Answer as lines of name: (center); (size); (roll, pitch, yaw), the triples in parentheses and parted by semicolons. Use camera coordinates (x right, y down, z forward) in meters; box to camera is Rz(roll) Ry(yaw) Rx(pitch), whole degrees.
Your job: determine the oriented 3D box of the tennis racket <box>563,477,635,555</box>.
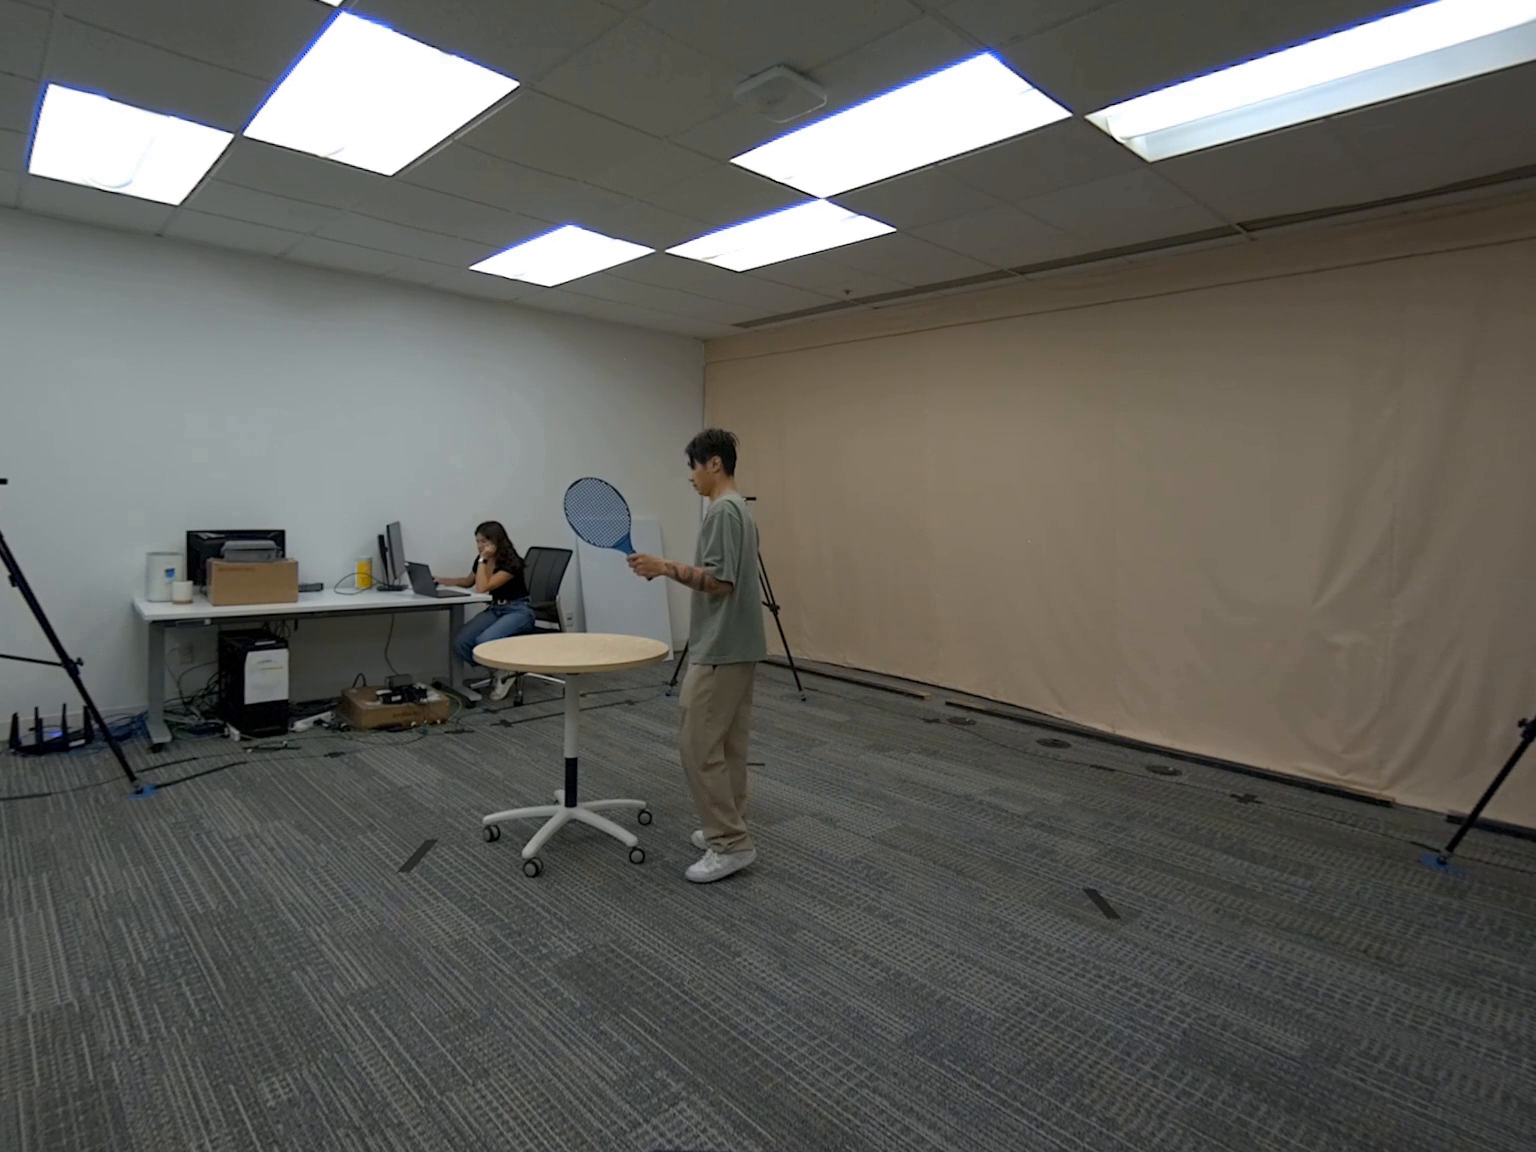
tennis racket: (-0.550, -0.153, 2.946); (0.213, 0.428, 0.032); (-41, 11, -21)
